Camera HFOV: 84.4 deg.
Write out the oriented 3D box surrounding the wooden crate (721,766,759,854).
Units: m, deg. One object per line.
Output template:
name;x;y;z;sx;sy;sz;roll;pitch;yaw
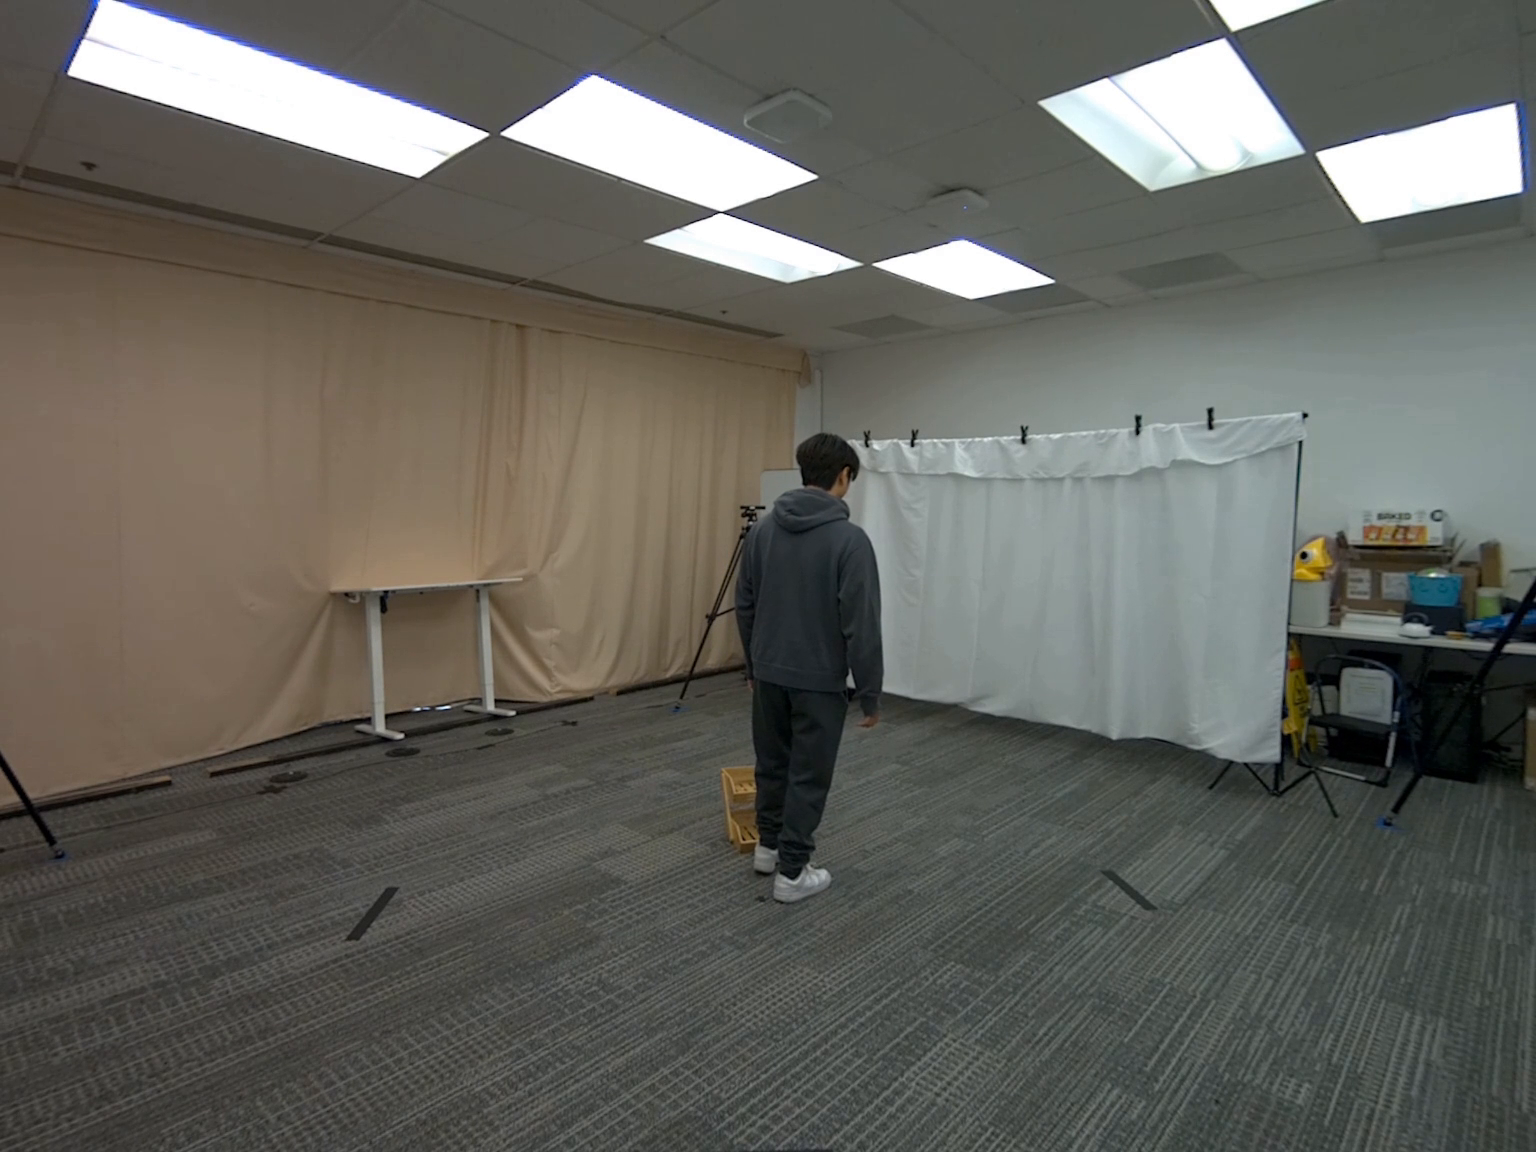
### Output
wooden crate;-0.011;0.962;3.533;0.319;0.273;0.308;-1;3;-17
